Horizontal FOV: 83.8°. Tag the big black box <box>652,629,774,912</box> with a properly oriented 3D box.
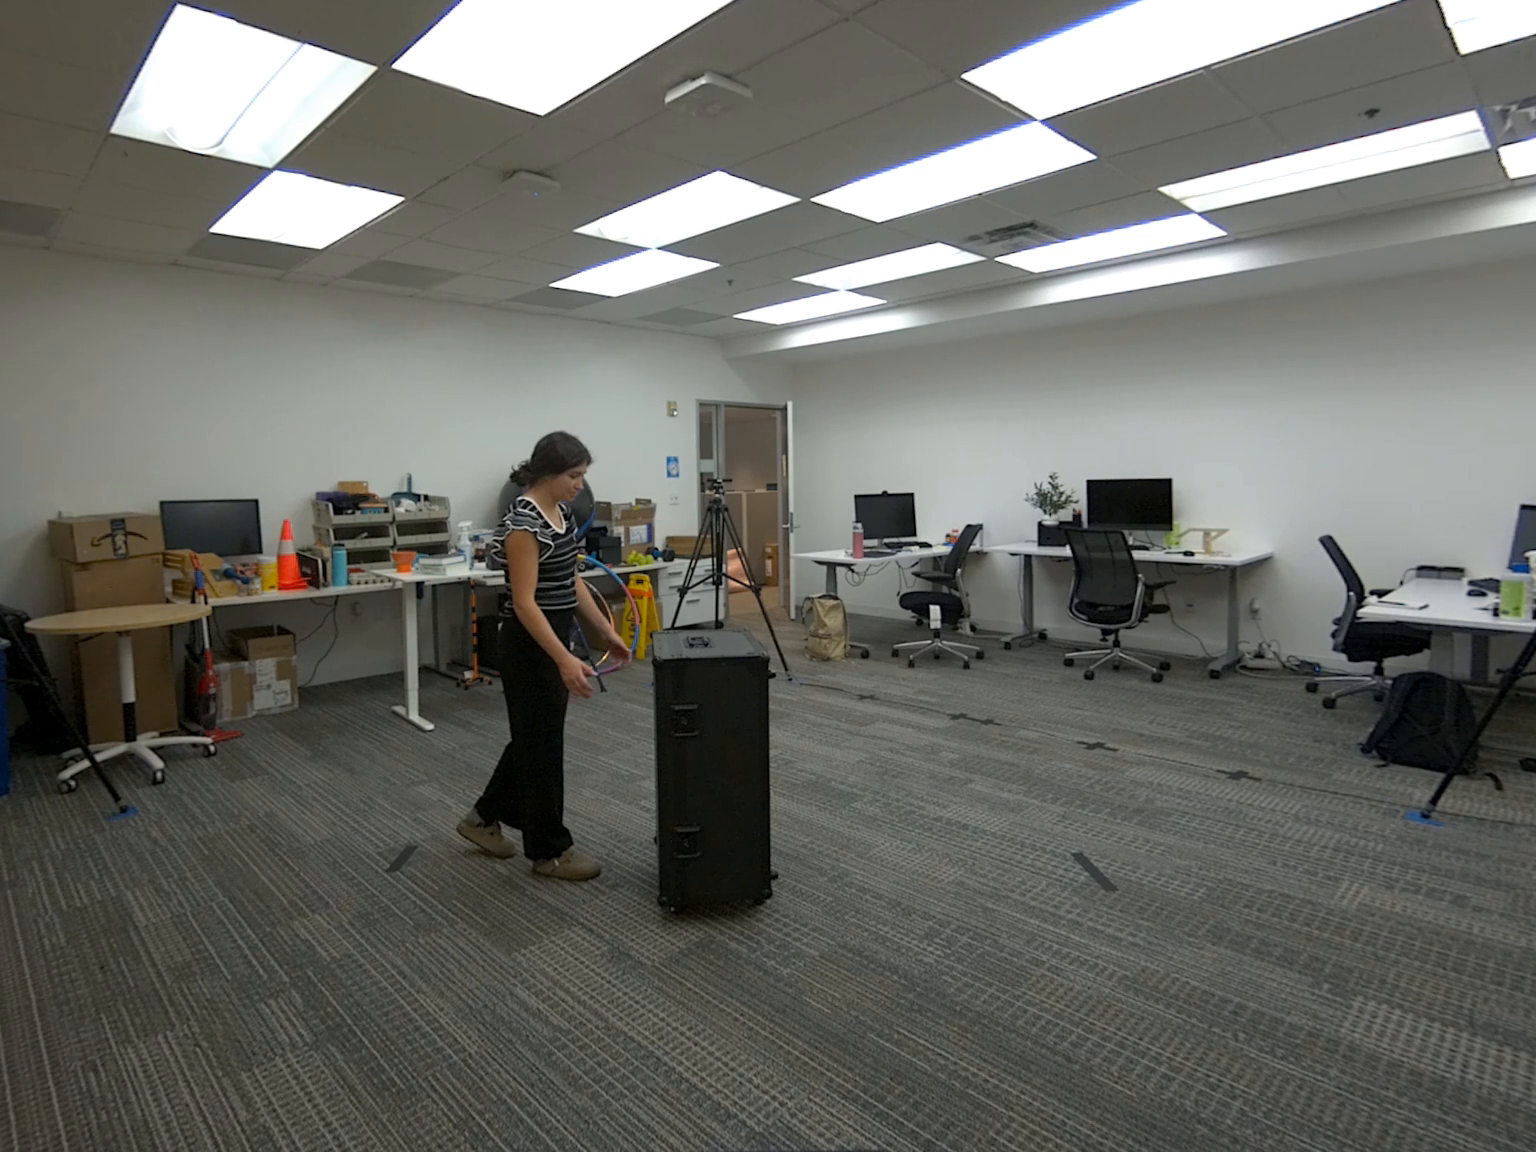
[{"bbox_3d":[-0.195,0.644,2.901,0.394,0.859,0.526,-1,4,-7],"label":"big black box"}]
